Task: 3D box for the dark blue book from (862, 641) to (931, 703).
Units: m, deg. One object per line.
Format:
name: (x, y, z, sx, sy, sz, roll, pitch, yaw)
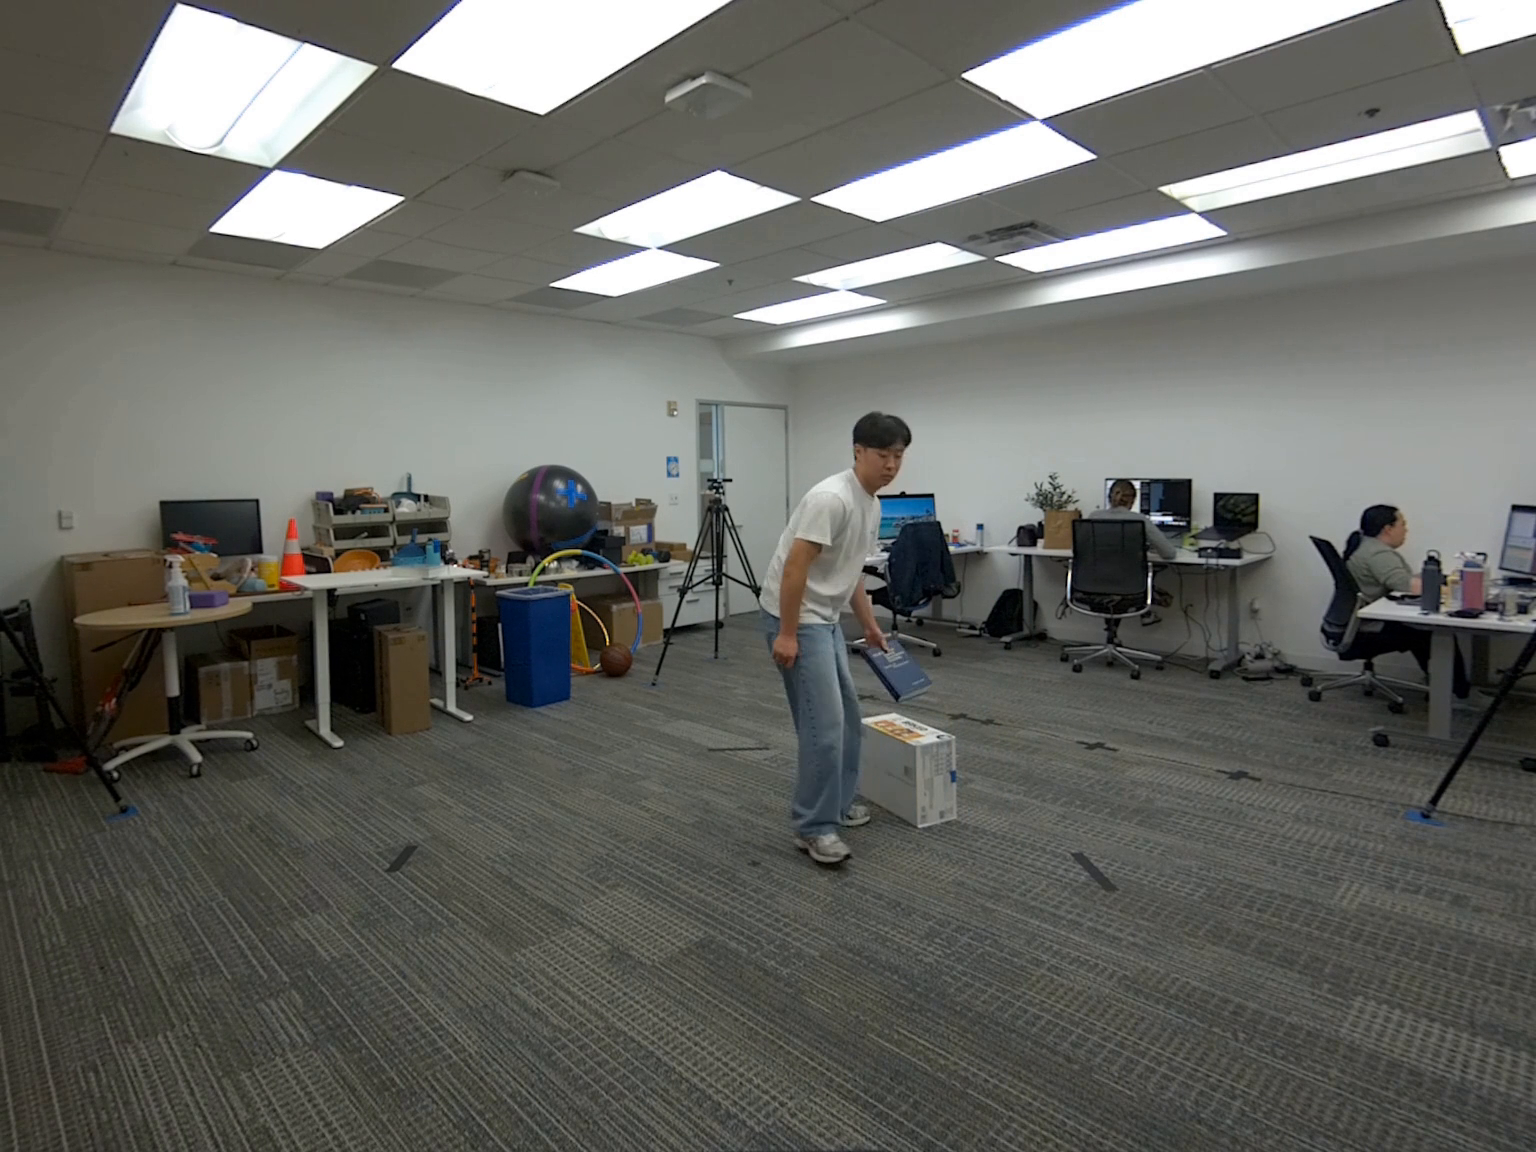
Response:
dark blue book: (0.508, 0.386, 3.409, 0.161, 0.044, 0.254, -17, 49, -25)
